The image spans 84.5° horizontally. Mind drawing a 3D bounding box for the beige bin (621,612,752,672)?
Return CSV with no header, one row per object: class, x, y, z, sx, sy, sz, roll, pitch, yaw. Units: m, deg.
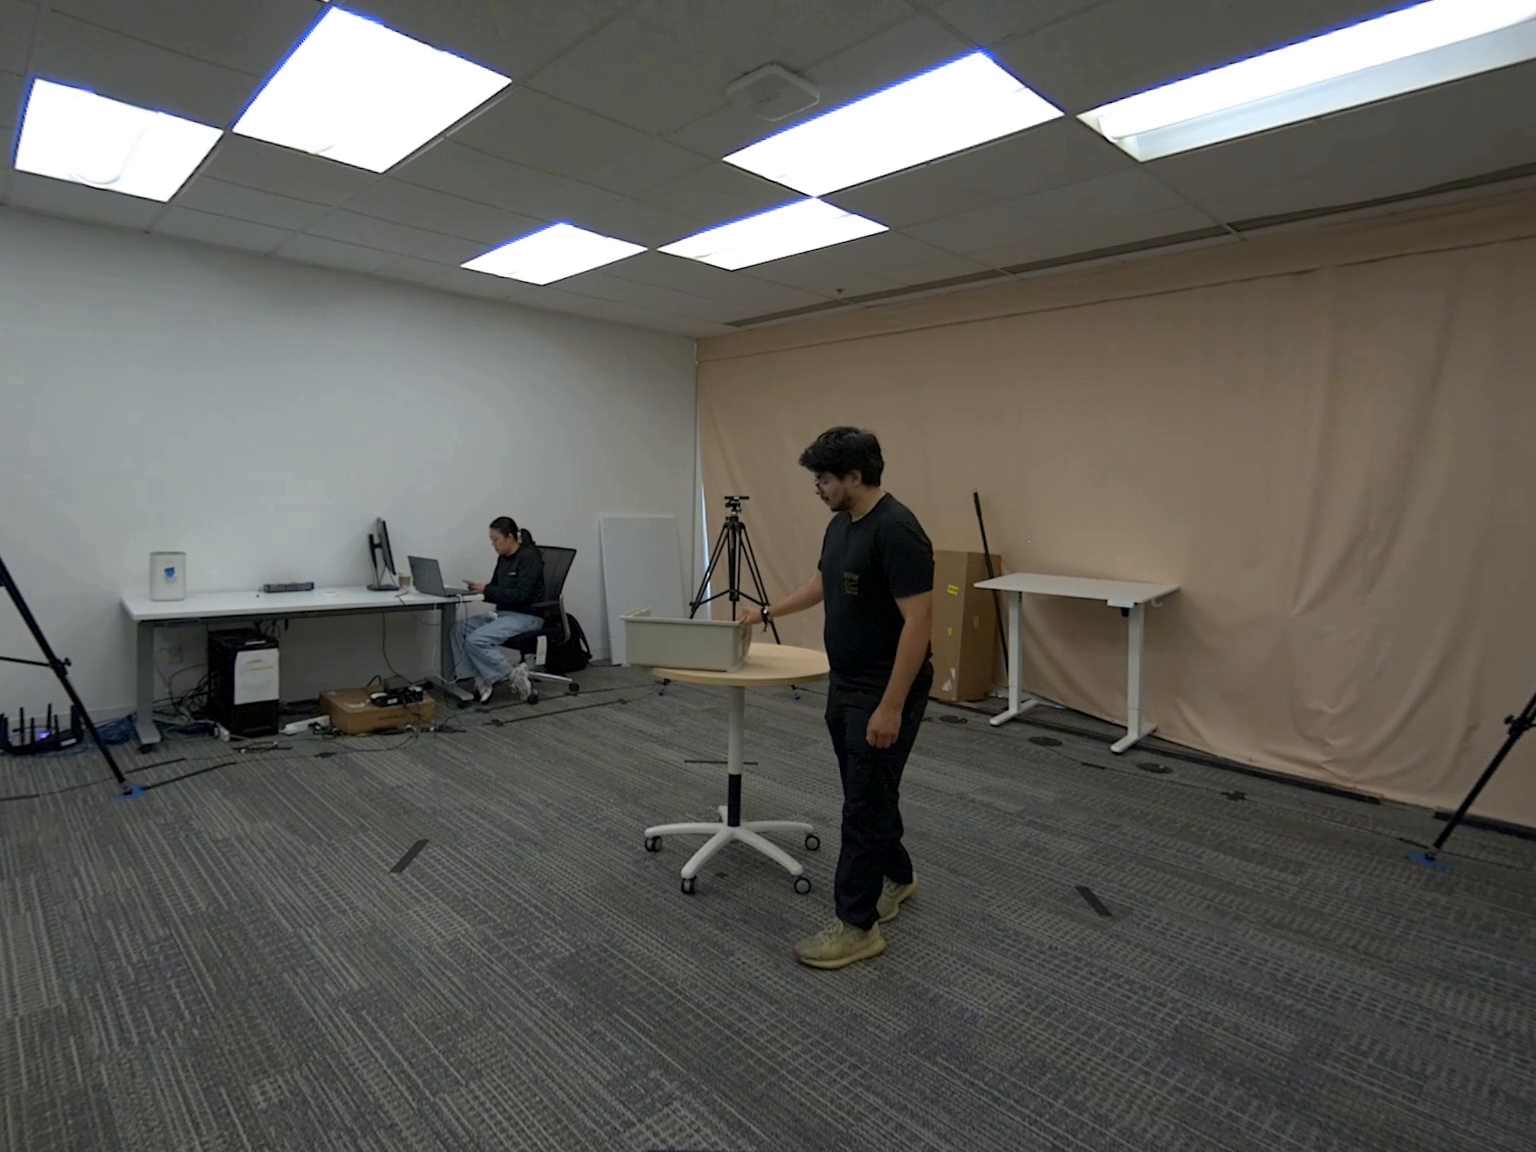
beige bin,-0.290,0.222,3.096,0.425,0.188,0.376,3,7,9
